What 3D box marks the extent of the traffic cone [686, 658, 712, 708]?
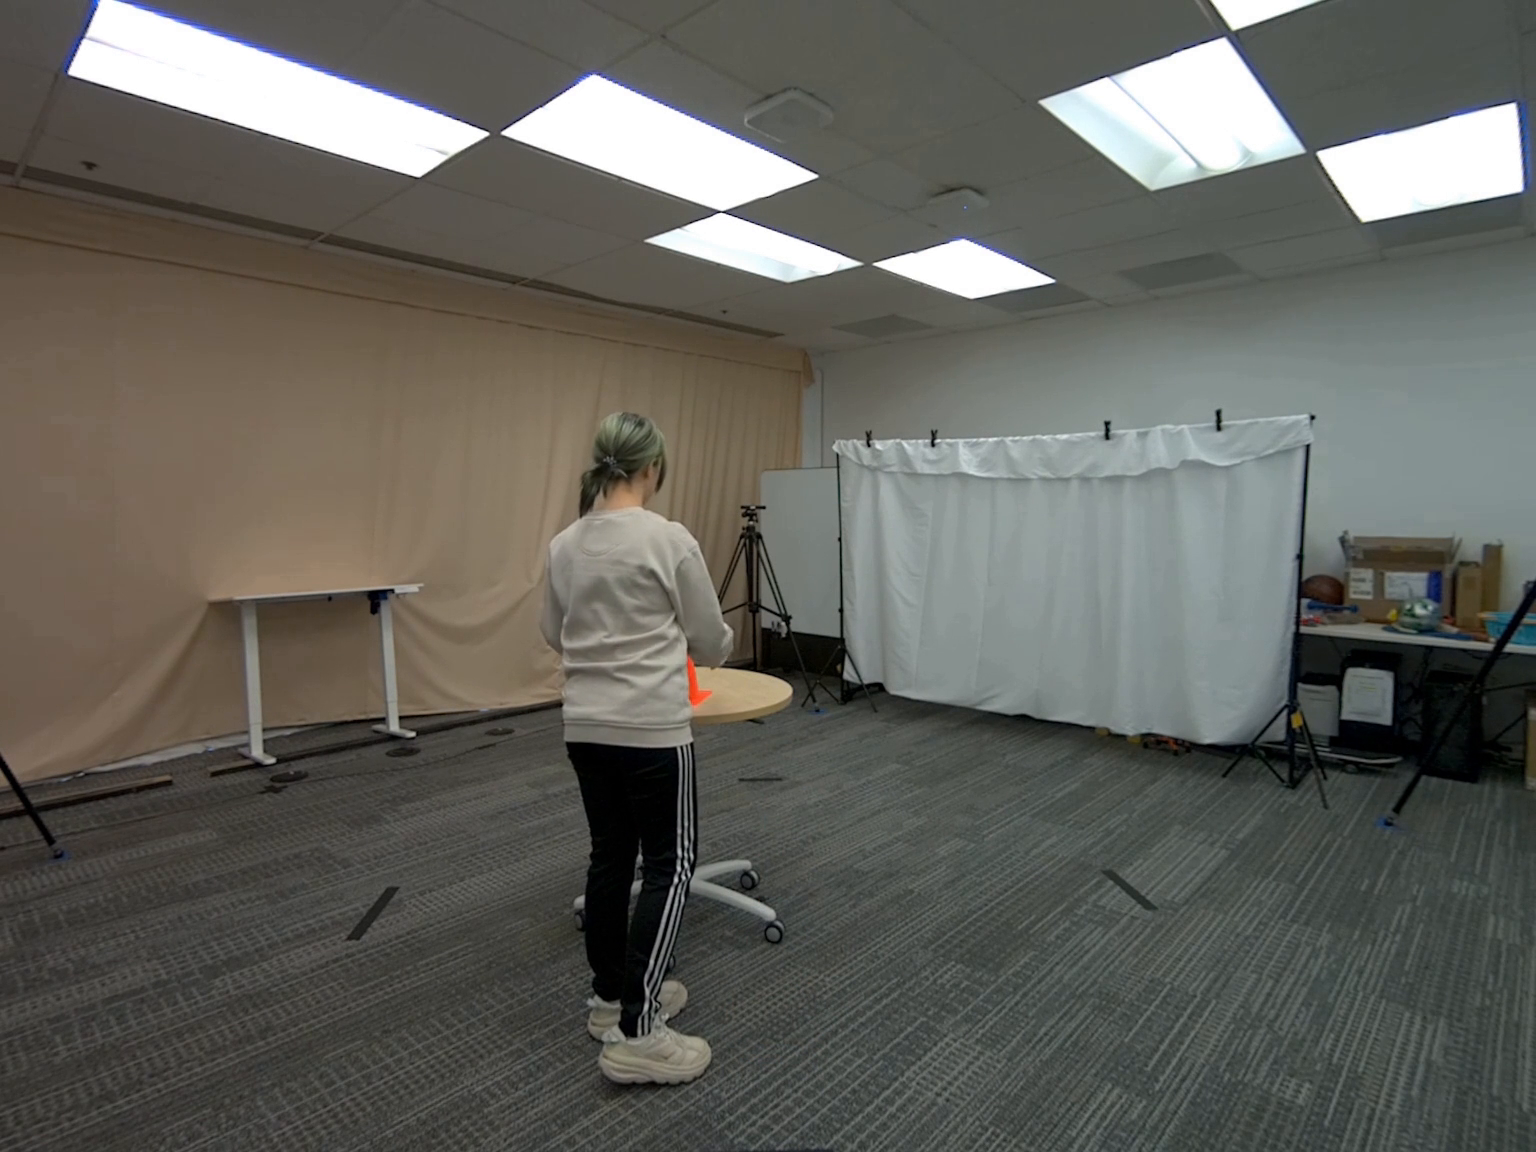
[{"bbox_3d":[-0.289,0.197,2.670,0.208,0.383,0.200,1,2,15],"label":"traffic cone"}]
